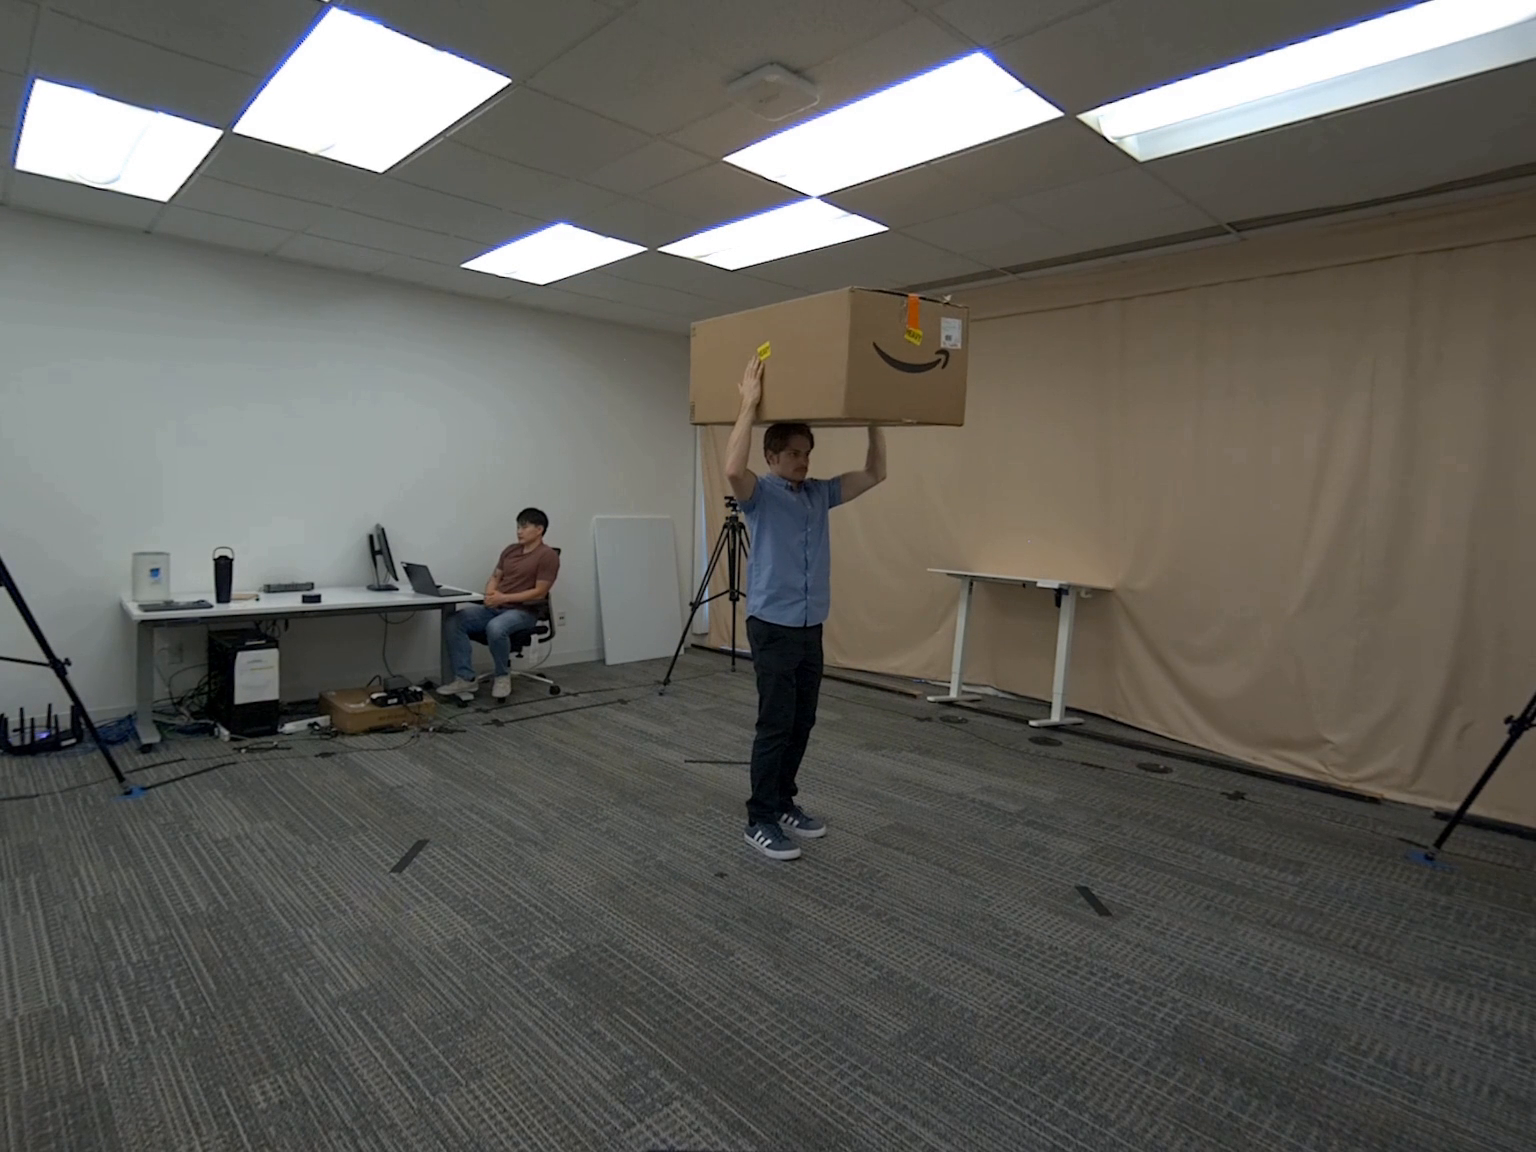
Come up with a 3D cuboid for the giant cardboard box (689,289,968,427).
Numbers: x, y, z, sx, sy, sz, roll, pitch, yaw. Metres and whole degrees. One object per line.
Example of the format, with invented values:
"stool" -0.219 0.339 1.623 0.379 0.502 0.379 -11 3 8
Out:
"giant cardboard box" 0.188 -0.807 3.298 0.565 0.424 1.053 -3 9 -34
